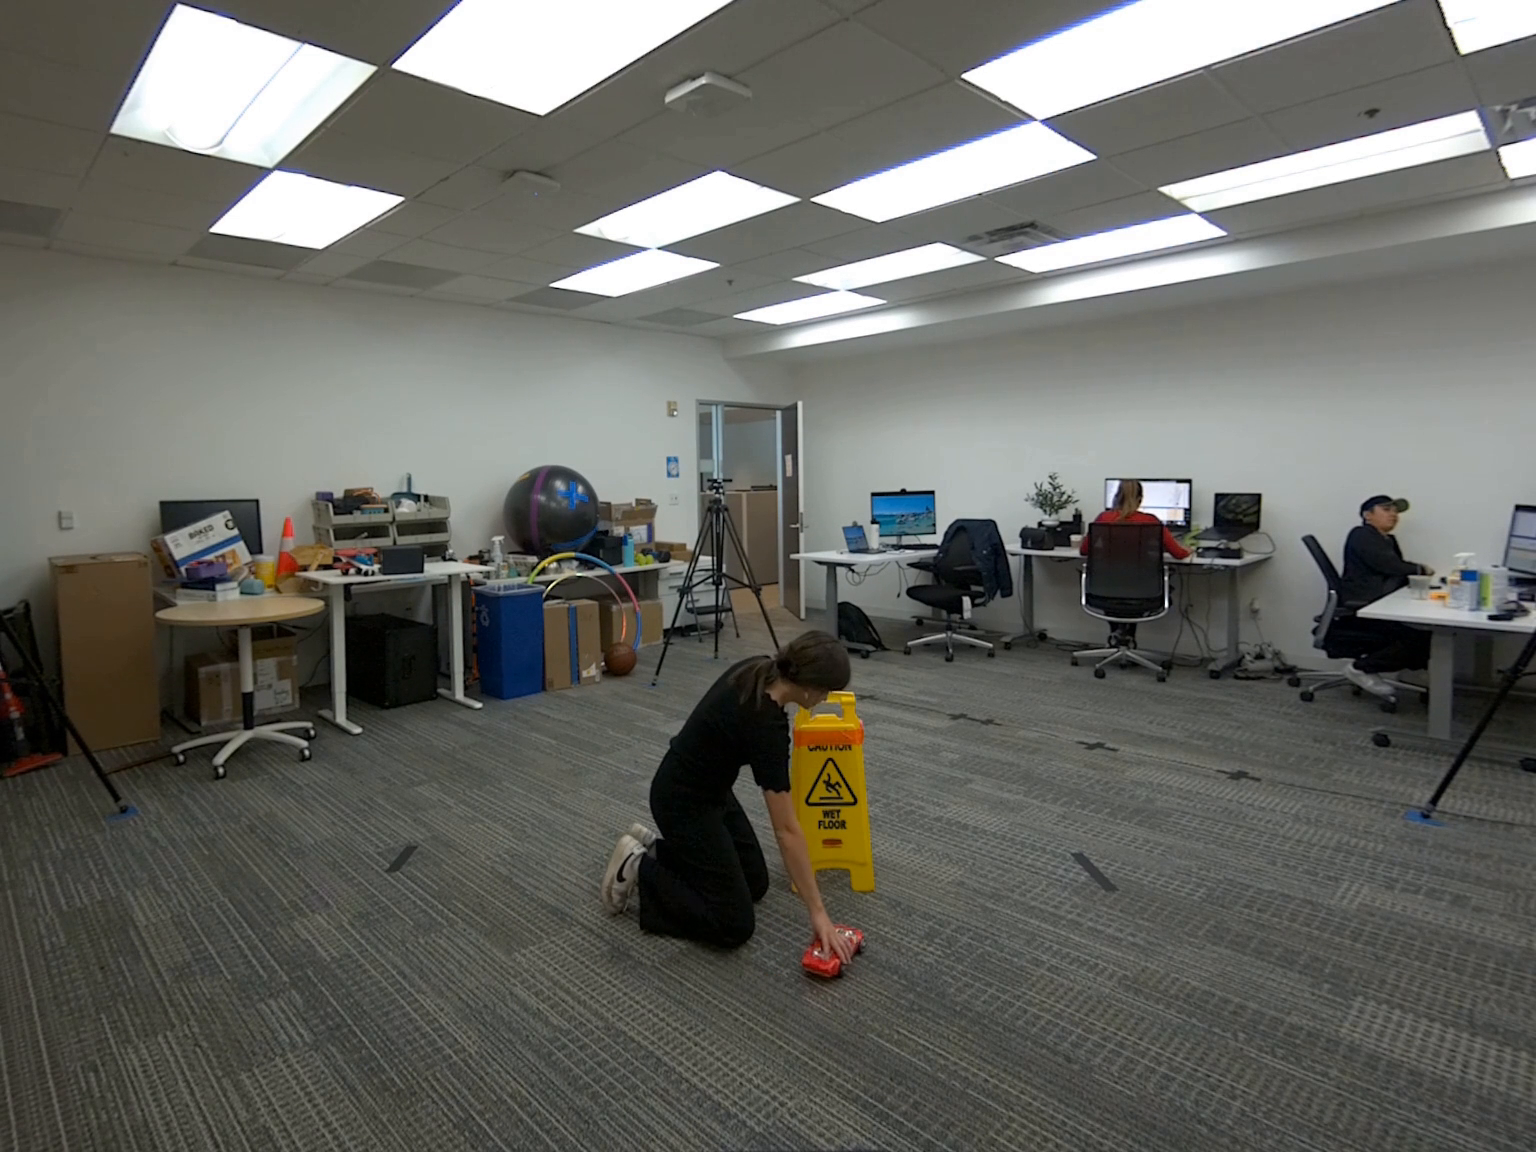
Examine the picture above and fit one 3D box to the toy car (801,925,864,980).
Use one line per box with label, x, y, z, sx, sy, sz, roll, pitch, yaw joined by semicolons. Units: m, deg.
toy car;0.183;1.087;2.465;0.133;0.083;0.248;1;-1;28
